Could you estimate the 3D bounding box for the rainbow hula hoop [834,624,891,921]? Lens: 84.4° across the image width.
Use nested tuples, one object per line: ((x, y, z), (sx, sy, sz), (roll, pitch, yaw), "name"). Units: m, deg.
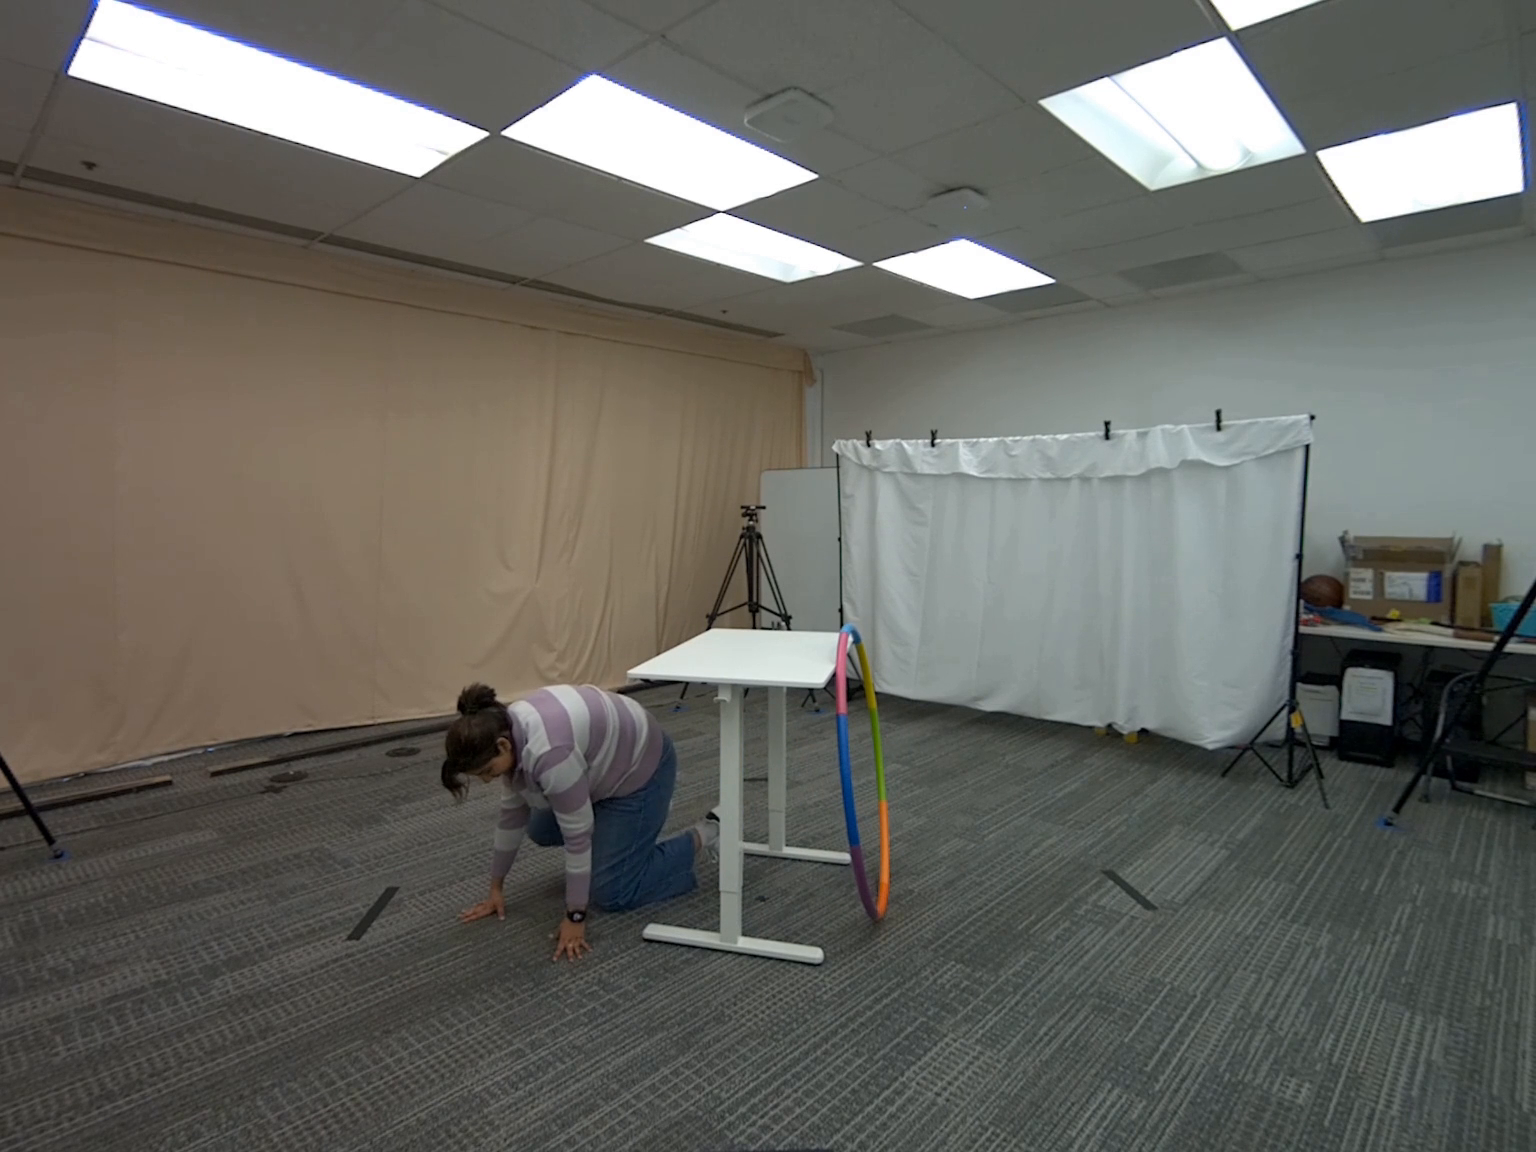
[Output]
((0.344, 0.666, 2.927), (0.036, 0.978, 0.966), (-7, 2, 13), "rainbow hula hoop")
